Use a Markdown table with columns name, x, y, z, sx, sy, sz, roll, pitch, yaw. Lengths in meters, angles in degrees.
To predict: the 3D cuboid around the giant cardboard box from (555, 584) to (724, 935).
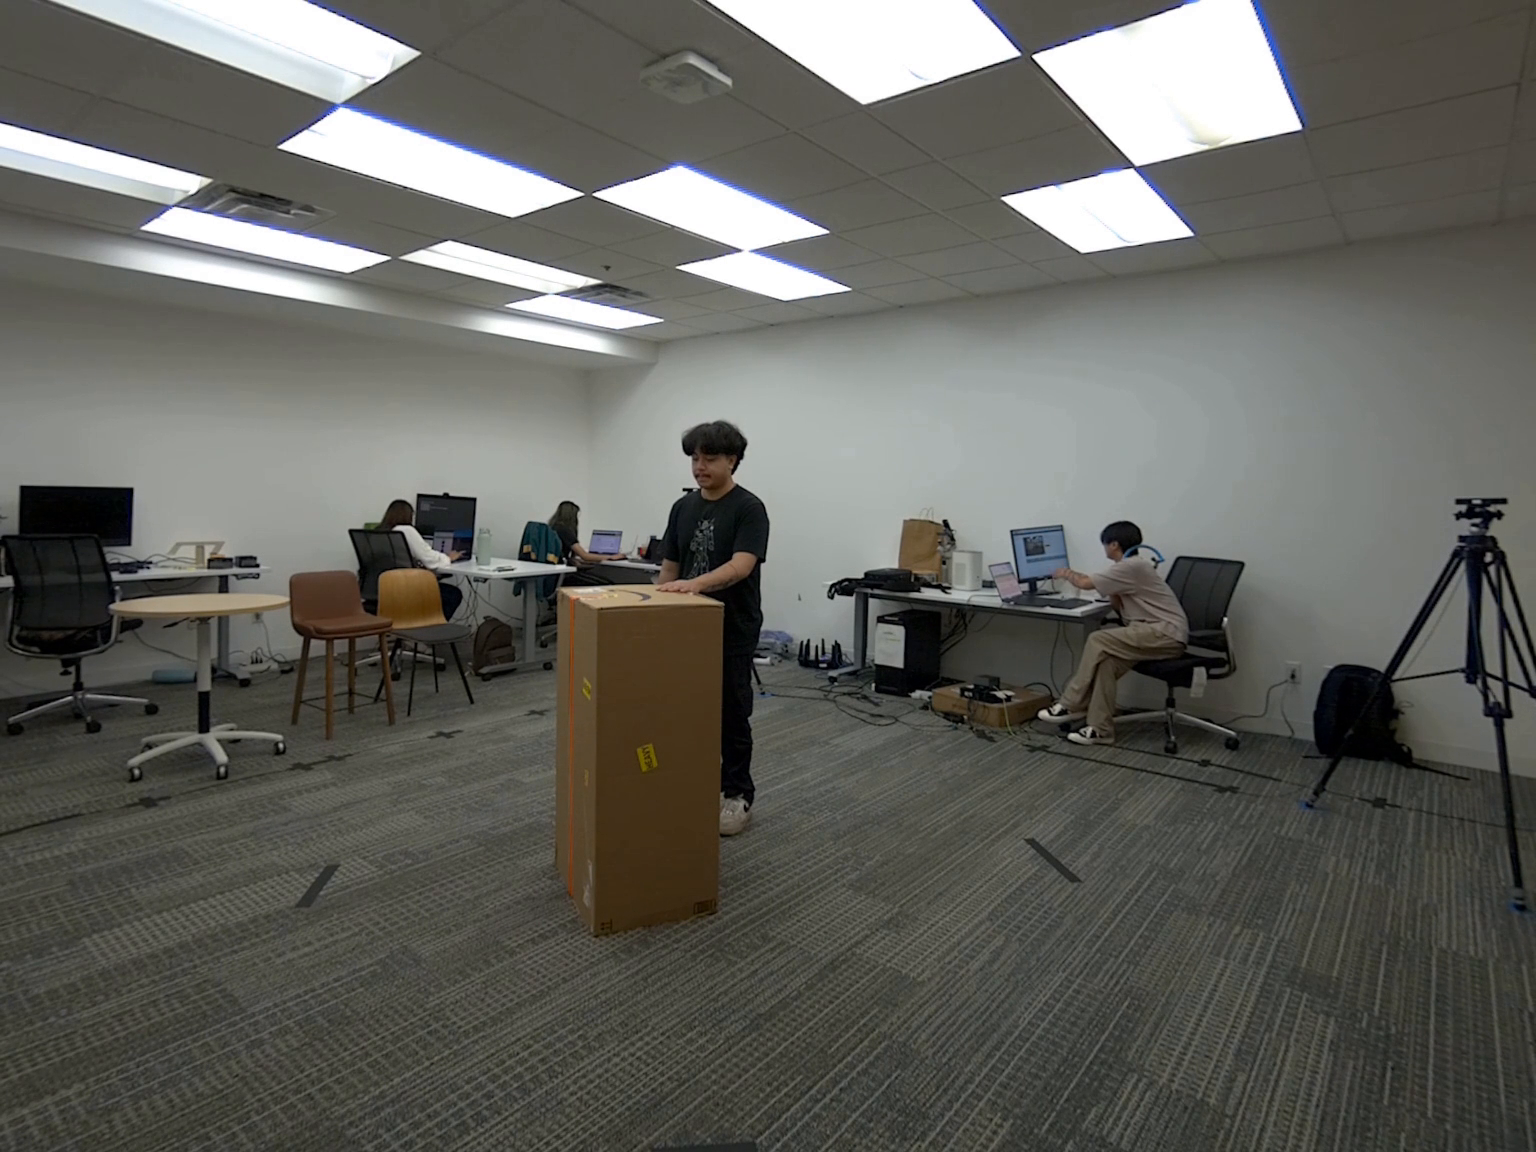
| name | x | y | z | sx | sy | sz | roll | pitch | yaw |
| --- | --- | --- | --- | --- | --- | --- | --- | --- | --- |
| giant cardboard box | -0.478 | 0.569 | 2.940 | 0.436 | 1.024 | 0.599 | -1 | 4 | -25 |
